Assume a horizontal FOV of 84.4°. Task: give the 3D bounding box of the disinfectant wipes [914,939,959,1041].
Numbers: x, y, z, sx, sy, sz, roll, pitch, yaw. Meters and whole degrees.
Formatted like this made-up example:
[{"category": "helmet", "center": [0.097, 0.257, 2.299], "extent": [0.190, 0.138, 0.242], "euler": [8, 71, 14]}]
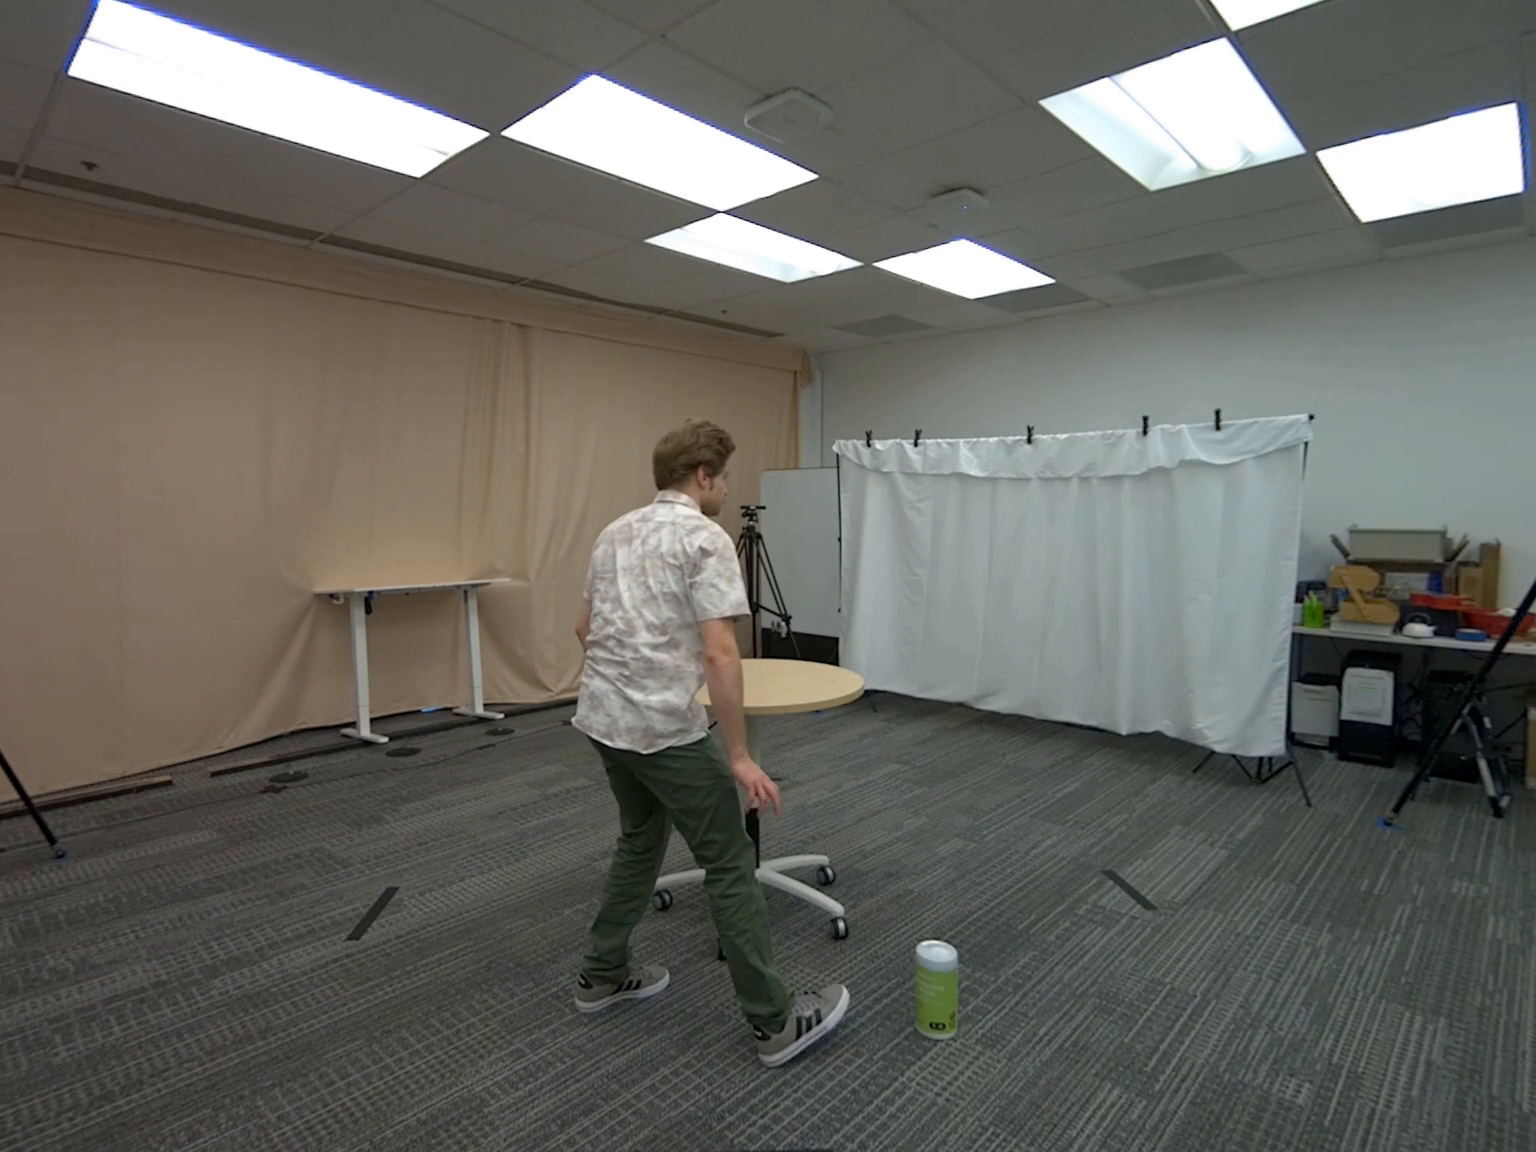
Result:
[{"category": "disinfectant wipes", "center": [0.455, 1.102, 2.222], "extent": [0.118, 0.217, 0.118], "euler": [1, 4, -2]}]
